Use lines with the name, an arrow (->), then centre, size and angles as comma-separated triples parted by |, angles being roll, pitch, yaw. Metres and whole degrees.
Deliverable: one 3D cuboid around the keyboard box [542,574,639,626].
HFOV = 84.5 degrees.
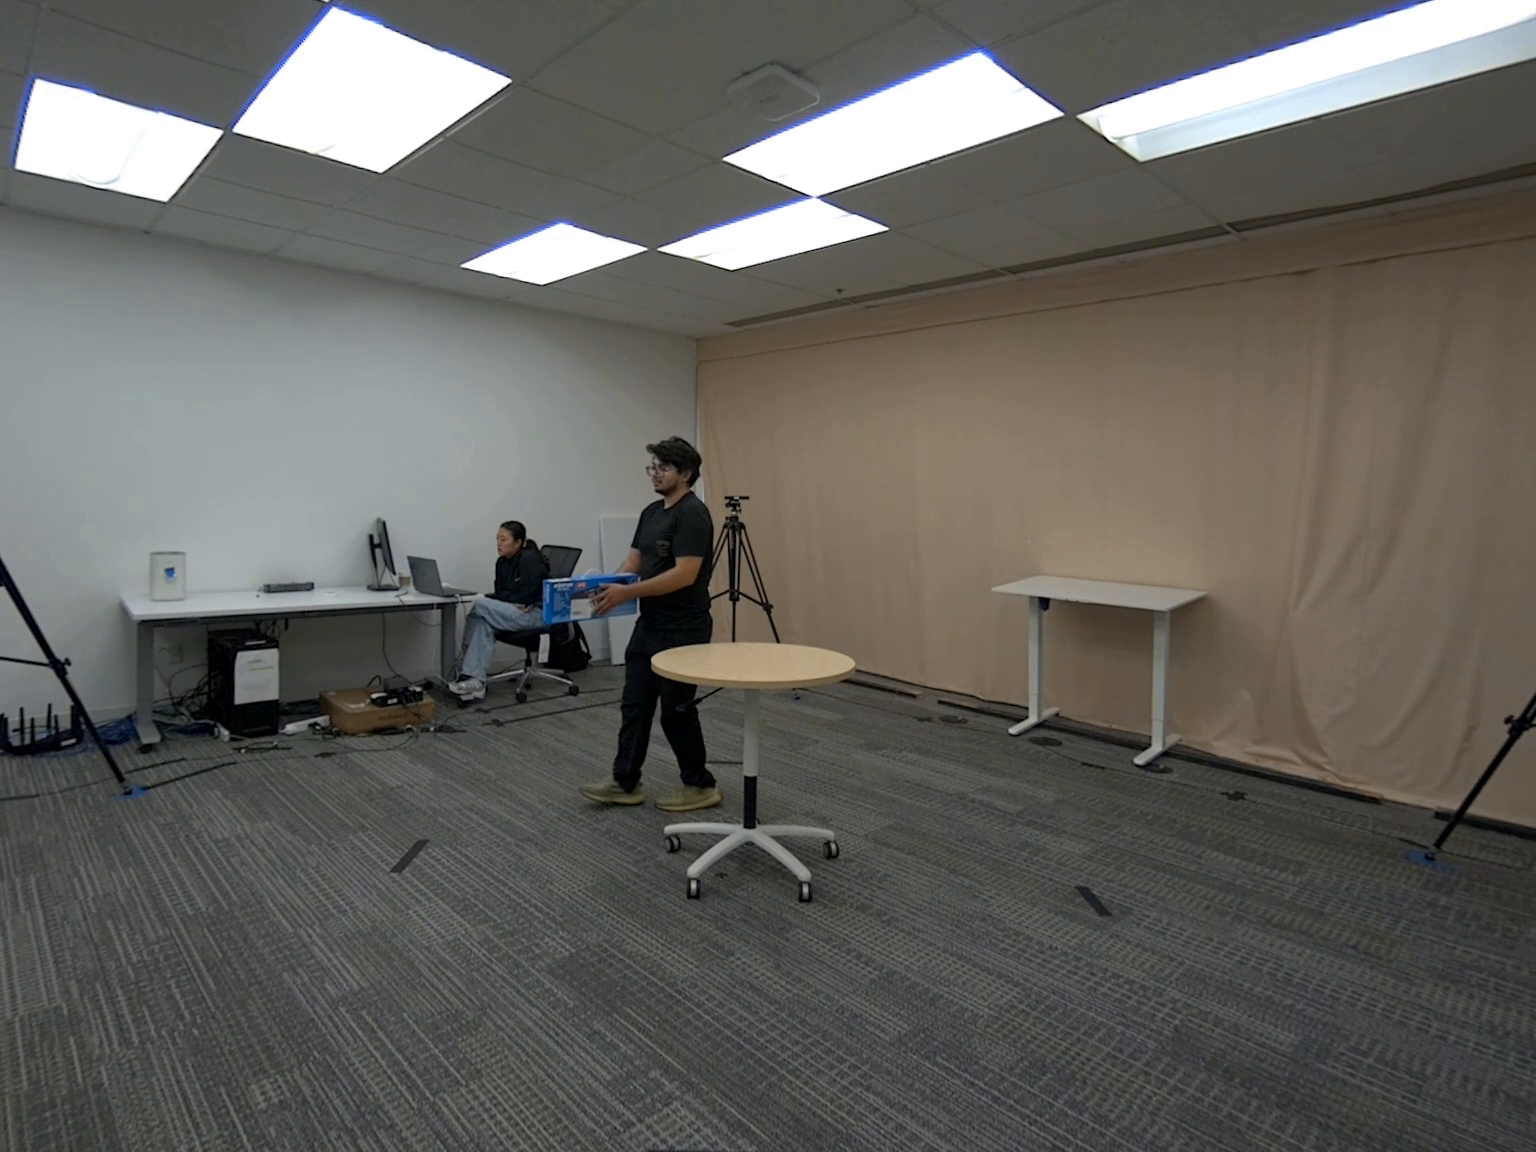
keyboard box -> -0.730, 0.092, 3.477 | 0.061, 0.175, 0.427 | 9, 10, 43
